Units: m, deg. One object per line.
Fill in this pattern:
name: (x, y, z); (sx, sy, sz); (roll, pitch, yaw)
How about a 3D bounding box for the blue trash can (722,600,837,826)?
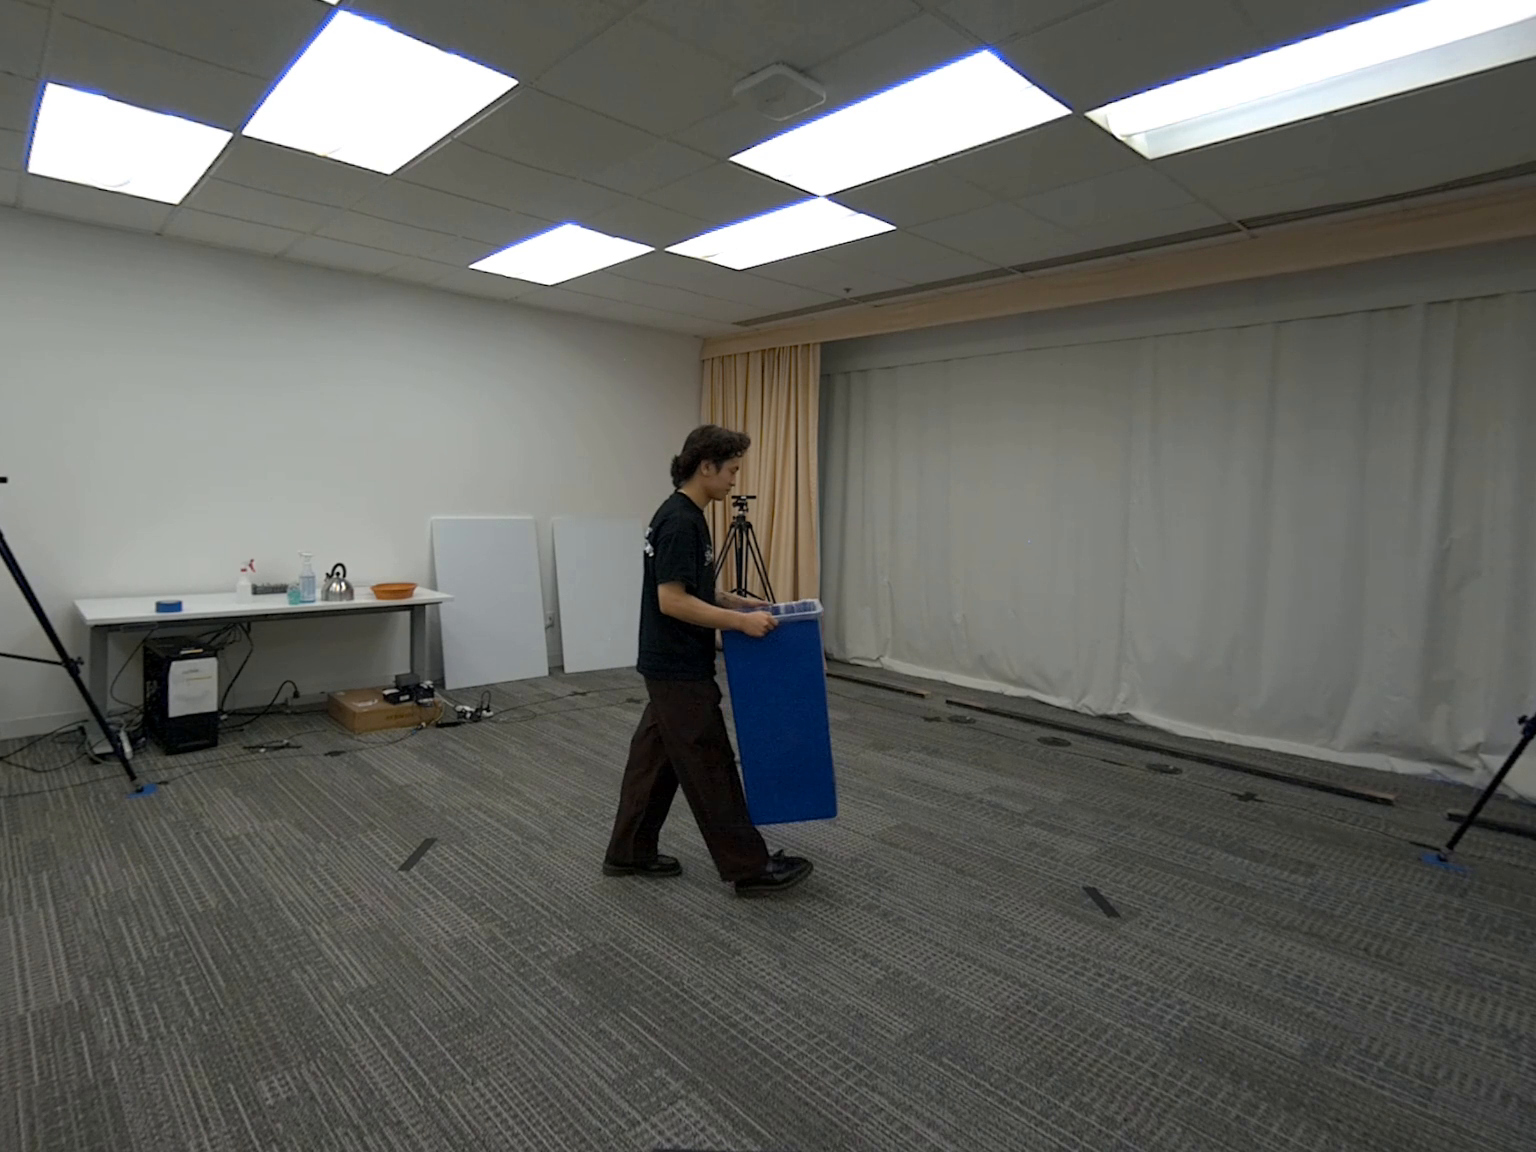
blue trash can: (0.049, 0.481, 2.988); (0.378, 0.712, 0.375); (-8, 2, -1)
